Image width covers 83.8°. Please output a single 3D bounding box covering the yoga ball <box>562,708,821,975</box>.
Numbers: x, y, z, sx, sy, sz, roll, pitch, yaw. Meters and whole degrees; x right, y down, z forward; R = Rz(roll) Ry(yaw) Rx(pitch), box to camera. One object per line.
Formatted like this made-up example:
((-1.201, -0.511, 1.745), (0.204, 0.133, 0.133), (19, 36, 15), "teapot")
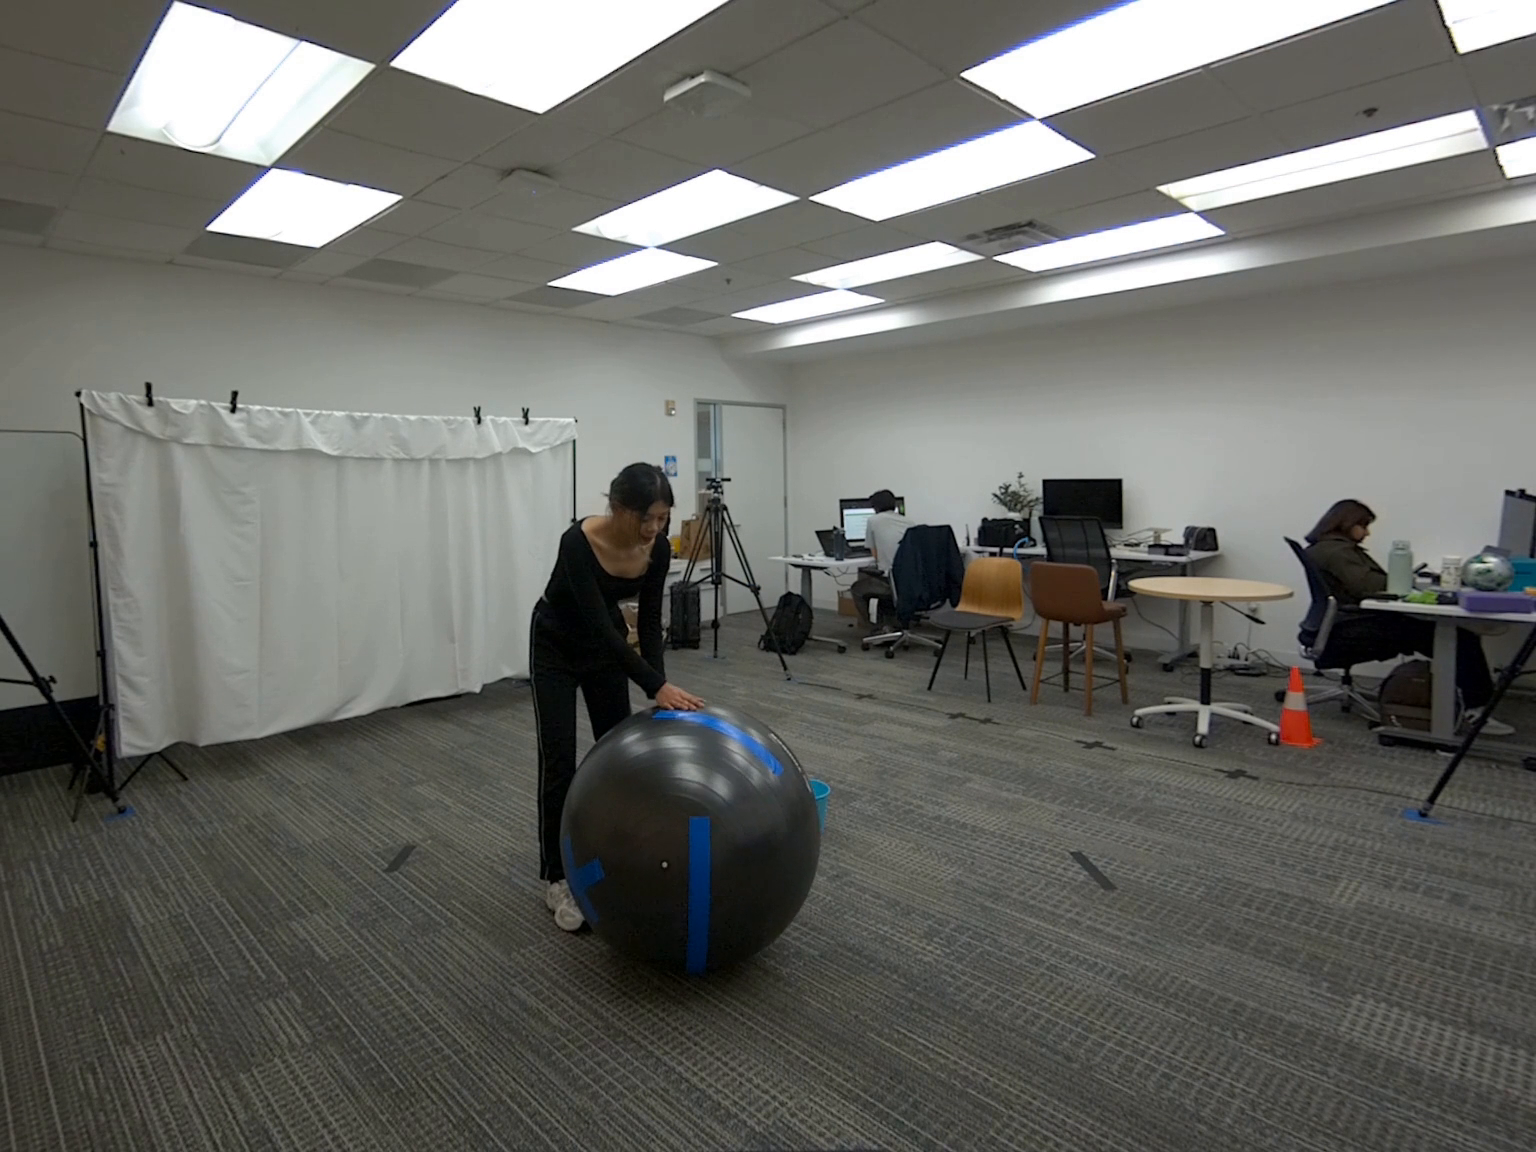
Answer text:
((-0.230, 0.754, 2.522), (0.757, 0.755, 0.762), (-1, 5, -2), "yoga ball")
